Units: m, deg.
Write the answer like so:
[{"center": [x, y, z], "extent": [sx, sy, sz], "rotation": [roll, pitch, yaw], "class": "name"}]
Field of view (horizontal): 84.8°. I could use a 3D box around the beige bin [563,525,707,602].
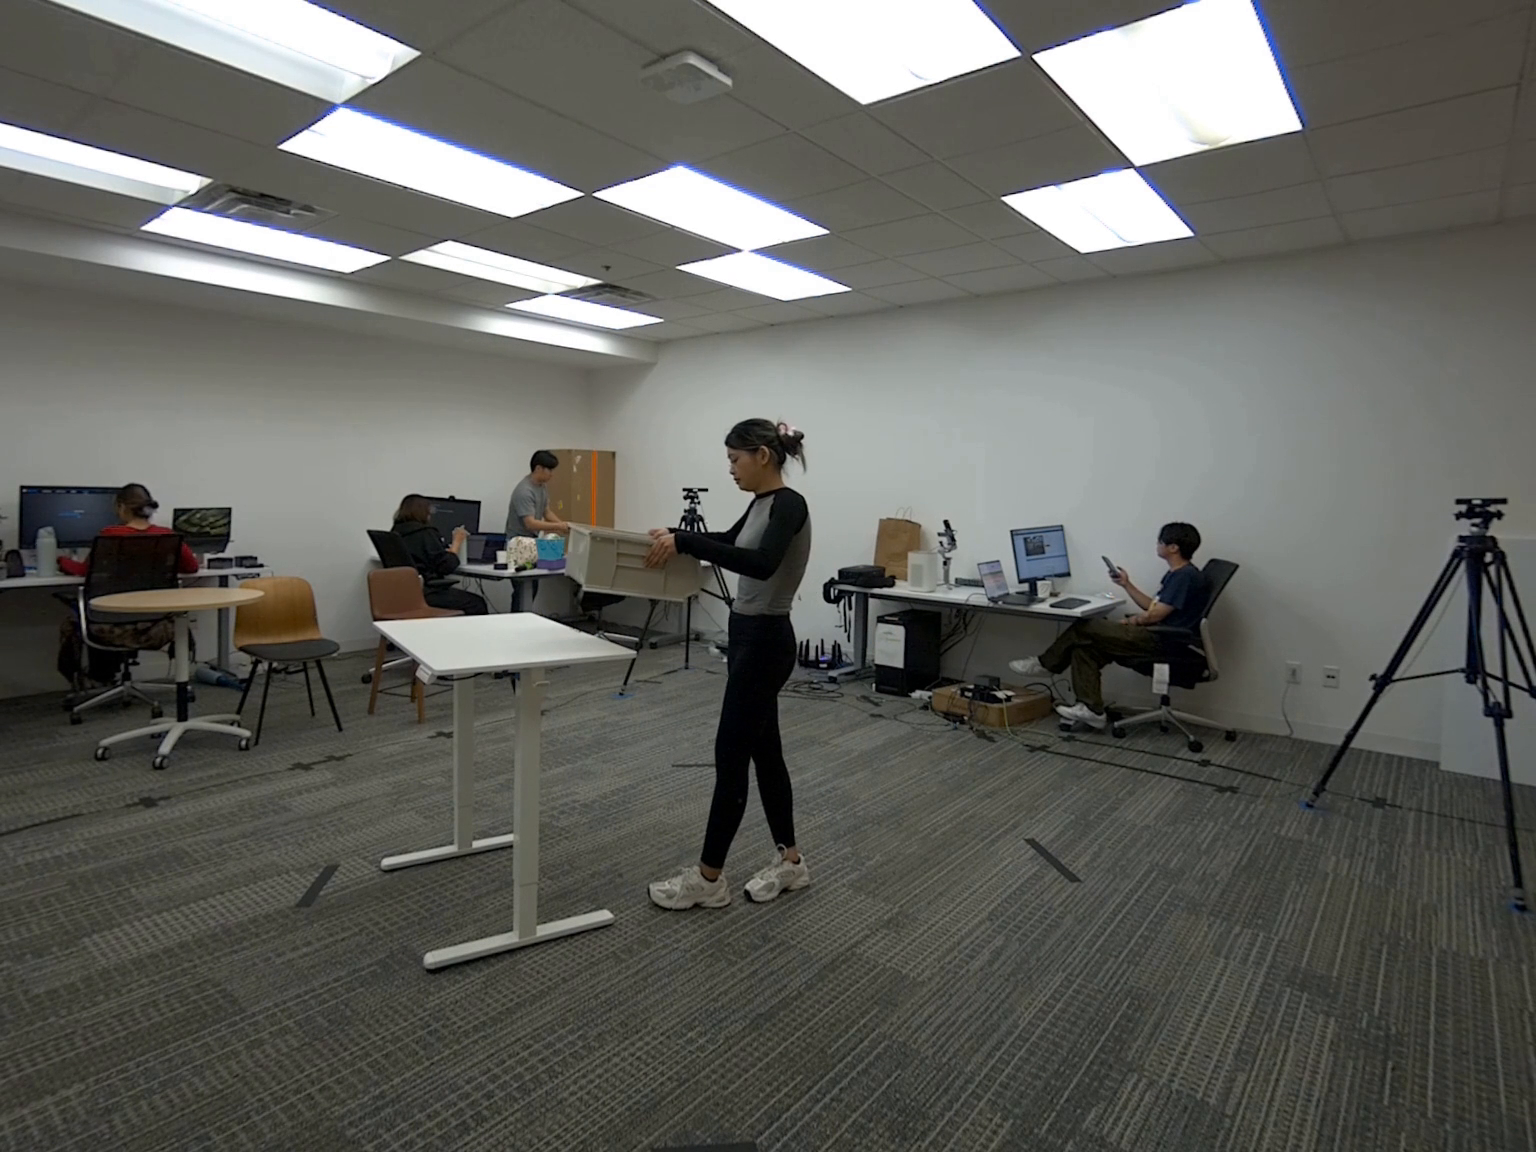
[{"center": [-0.454, -0.050, 2.801], "extent": [0.369, 0.188, 0.433], "rotation": [2, 6, -22], "class": "beige bin"}]
